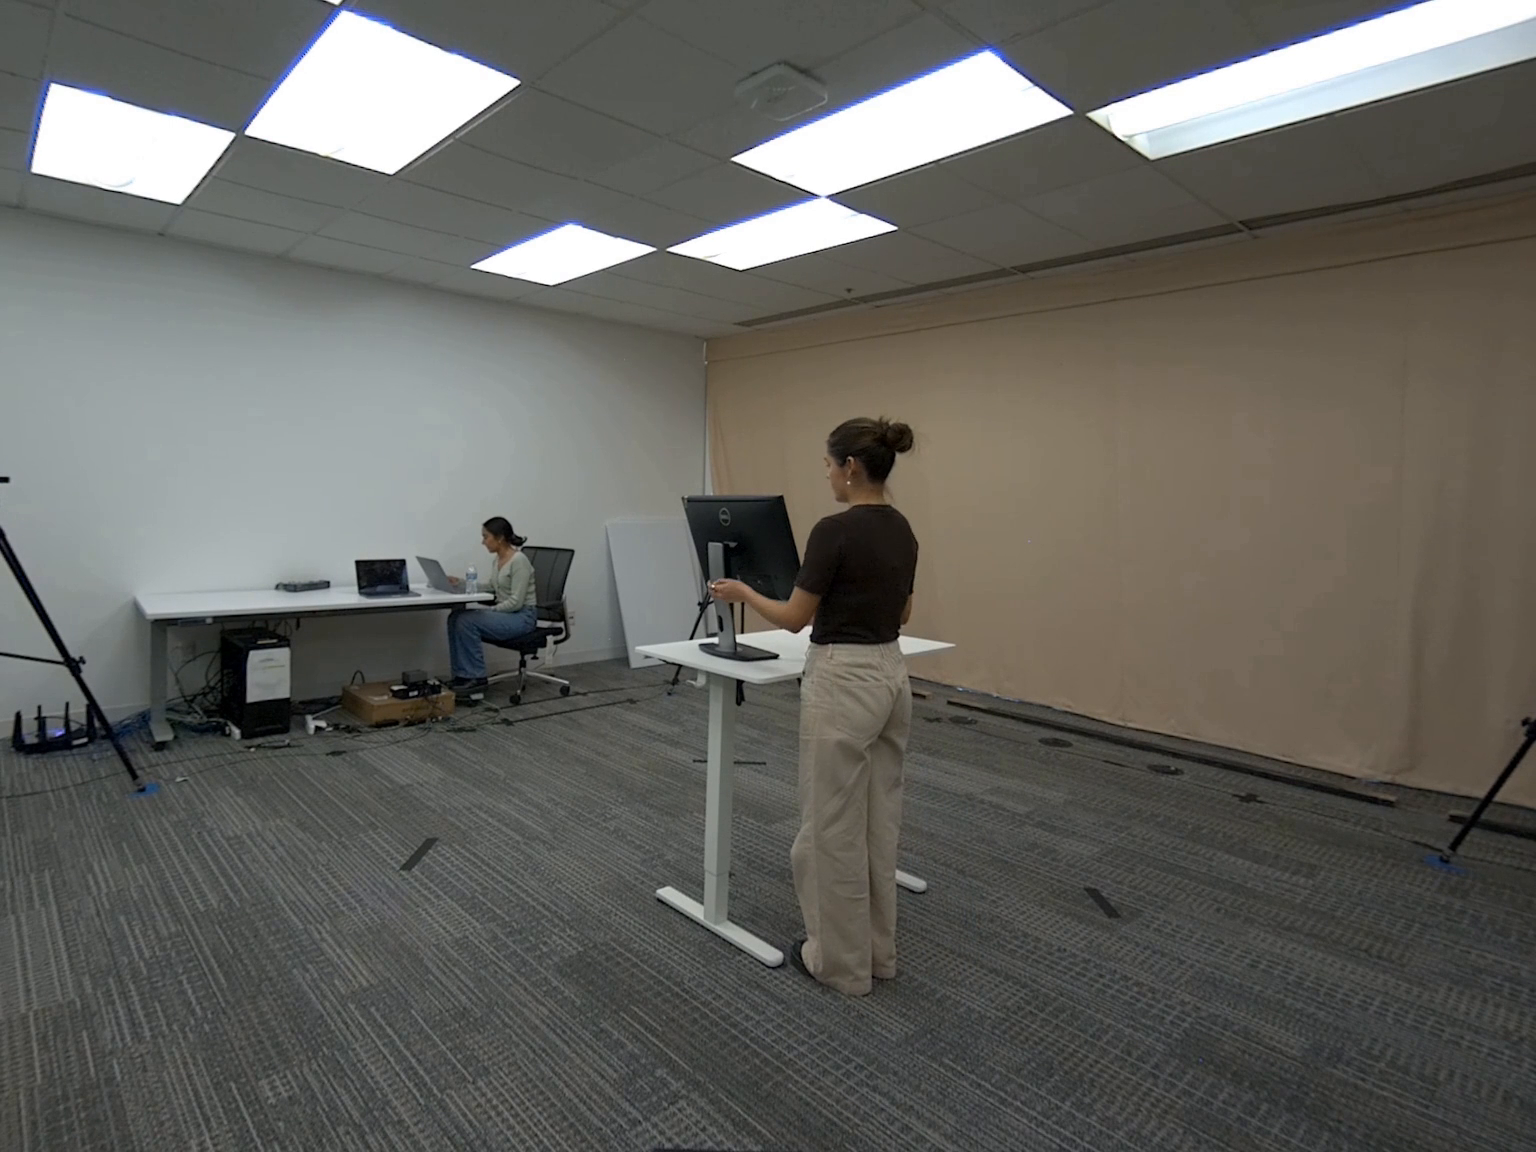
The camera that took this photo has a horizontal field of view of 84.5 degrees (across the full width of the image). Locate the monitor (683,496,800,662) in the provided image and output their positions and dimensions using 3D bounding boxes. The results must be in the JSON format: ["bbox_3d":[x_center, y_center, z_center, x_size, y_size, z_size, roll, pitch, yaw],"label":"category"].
[{"bbox_3d":[-0.110,0.000,2.720,0.183,0.520,0.552,-6,7,-39],"label":"monitor"}]
